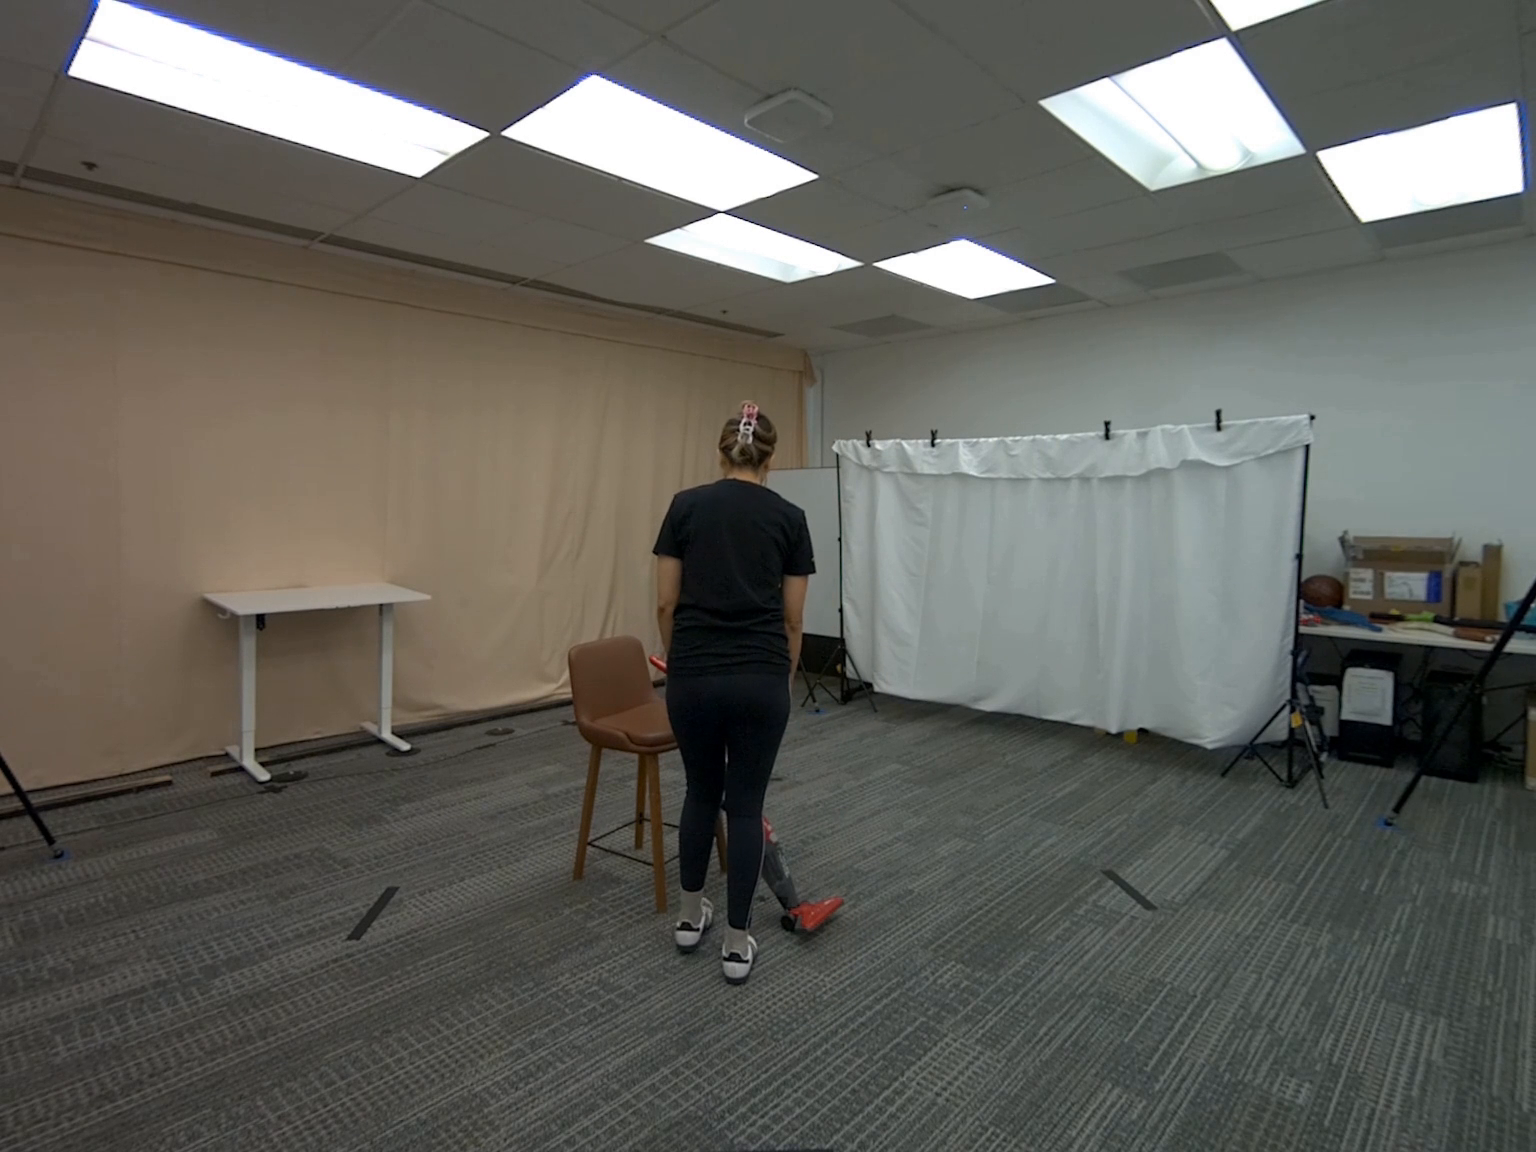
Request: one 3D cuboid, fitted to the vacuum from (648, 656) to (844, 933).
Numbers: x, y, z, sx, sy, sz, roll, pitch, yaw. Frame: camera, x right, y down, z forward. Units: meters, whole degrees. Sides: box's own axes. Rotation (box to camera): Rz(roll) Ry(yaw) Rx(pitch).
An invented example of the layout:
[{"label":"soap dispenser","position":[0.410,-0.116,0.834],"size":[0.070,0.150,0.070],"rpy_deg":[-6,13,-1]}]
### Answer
[{"label":"vacuum","position":[-0.138,0.723,2.943],"size":[0.145,1.071,0.245],"rpy_deg":[-44,-21,26]}]
